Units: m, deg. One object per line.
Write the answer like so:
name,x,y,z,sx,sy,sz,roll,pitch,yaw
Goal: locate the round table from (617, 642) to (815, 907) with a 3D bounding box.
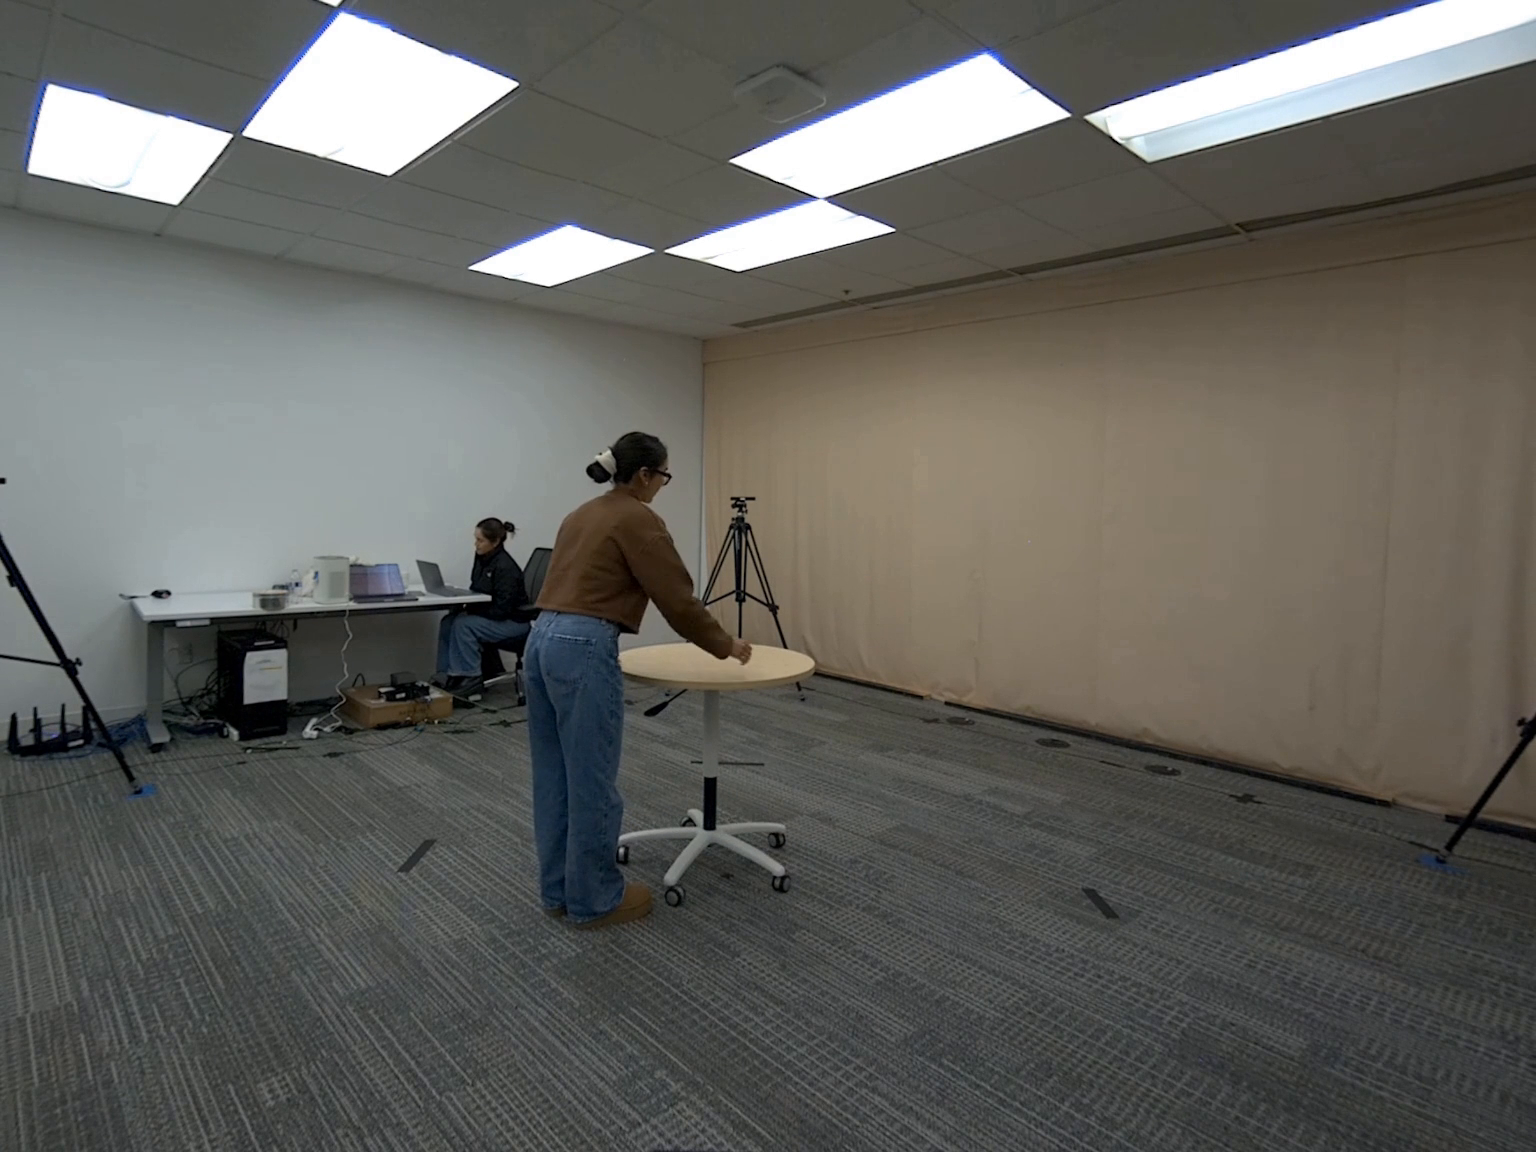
round table,-0.218,0.709,3.180,0.763,0.792,0.766,1,4,-1
